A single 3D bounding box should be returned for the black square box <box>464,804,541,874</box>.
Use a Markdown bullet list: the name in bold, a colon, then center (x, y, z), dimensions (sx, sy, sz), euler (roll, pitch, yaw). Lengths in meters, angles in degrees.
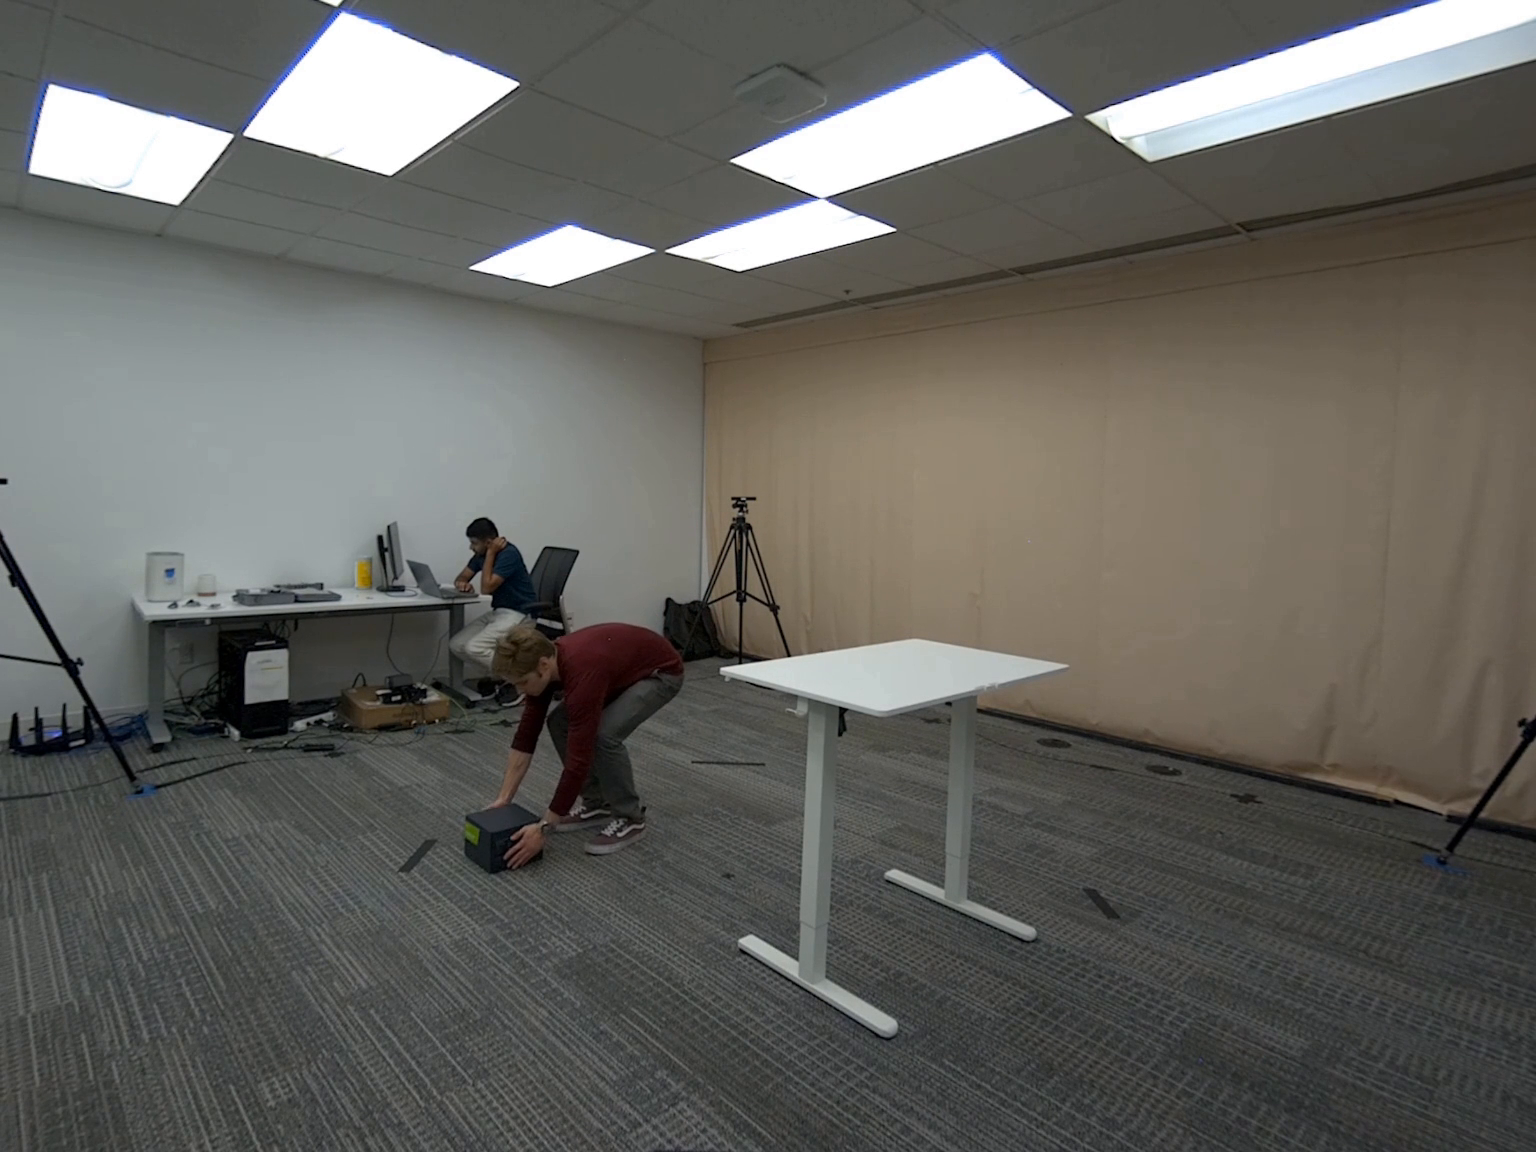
- **black square box**: center (-1.018, 0.999, 3.216), dimensions (0.212, 0.155, 0.234), euler (-5, 8, -44)
